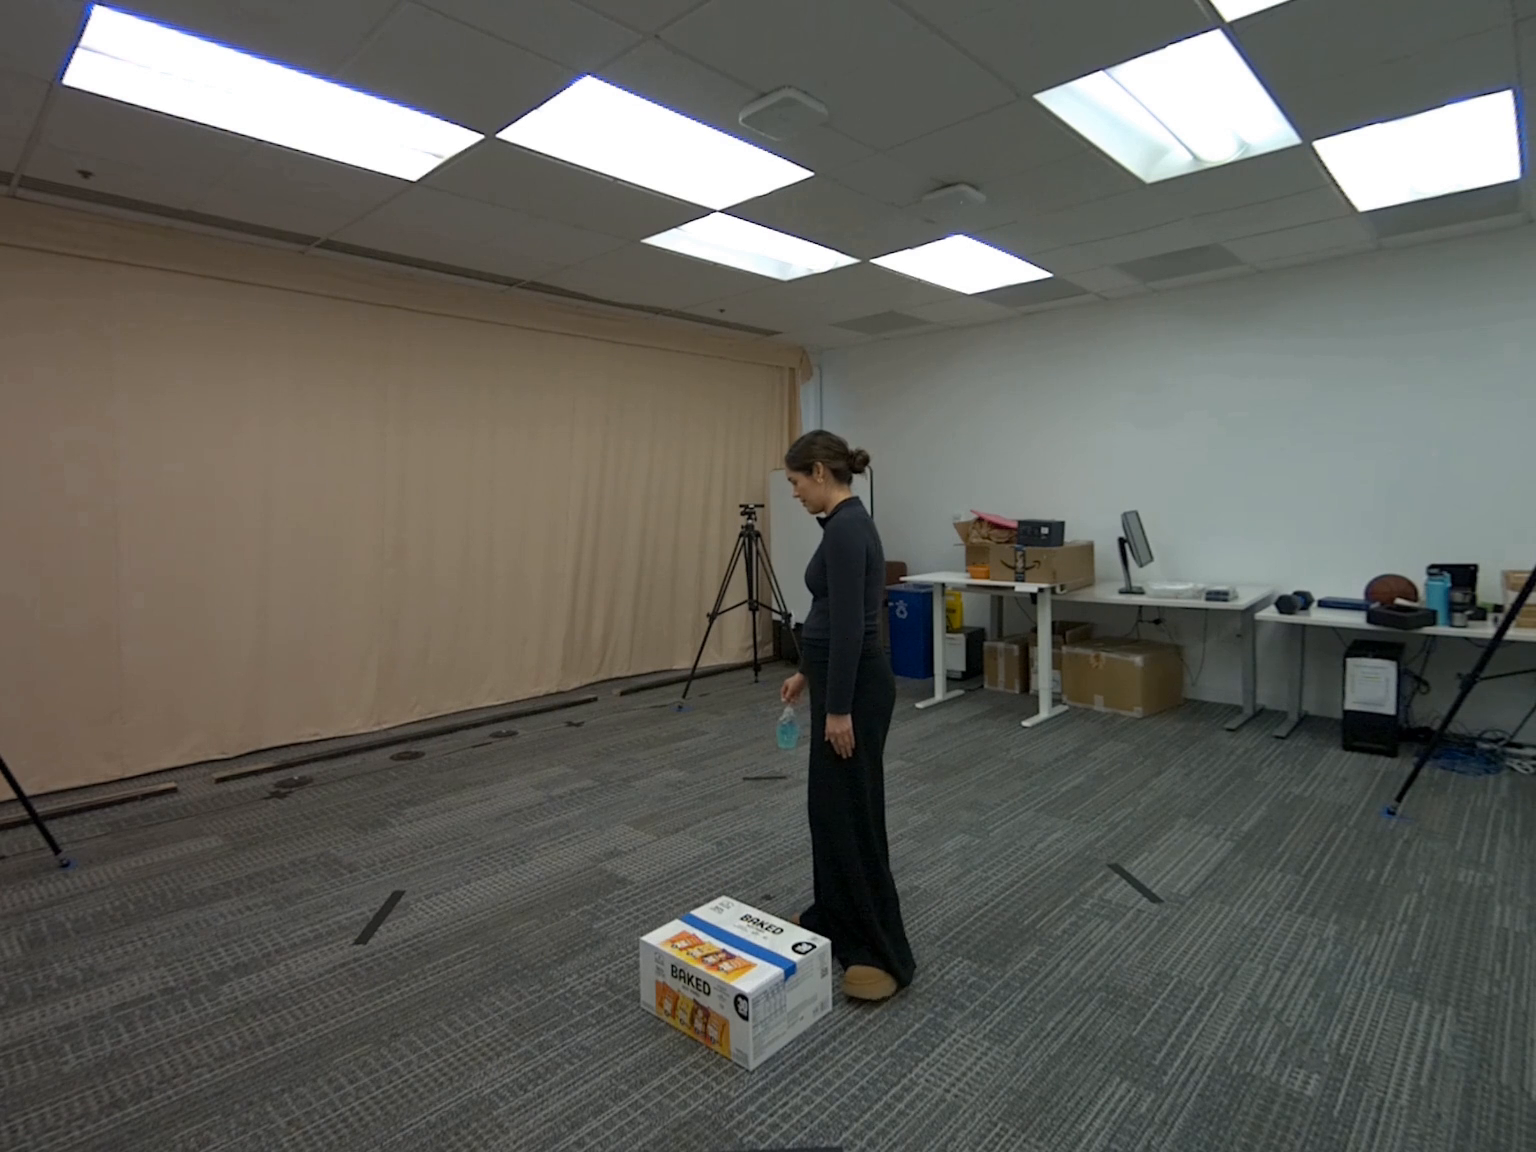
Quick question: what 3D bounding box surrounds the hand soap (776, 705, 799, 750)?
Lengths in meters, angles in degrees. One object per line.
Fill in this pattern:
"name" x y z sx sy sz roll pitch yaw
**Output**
"hand soap" 0.076 0.502 2.867 0.083 0.168 0.044 2 3 -16
